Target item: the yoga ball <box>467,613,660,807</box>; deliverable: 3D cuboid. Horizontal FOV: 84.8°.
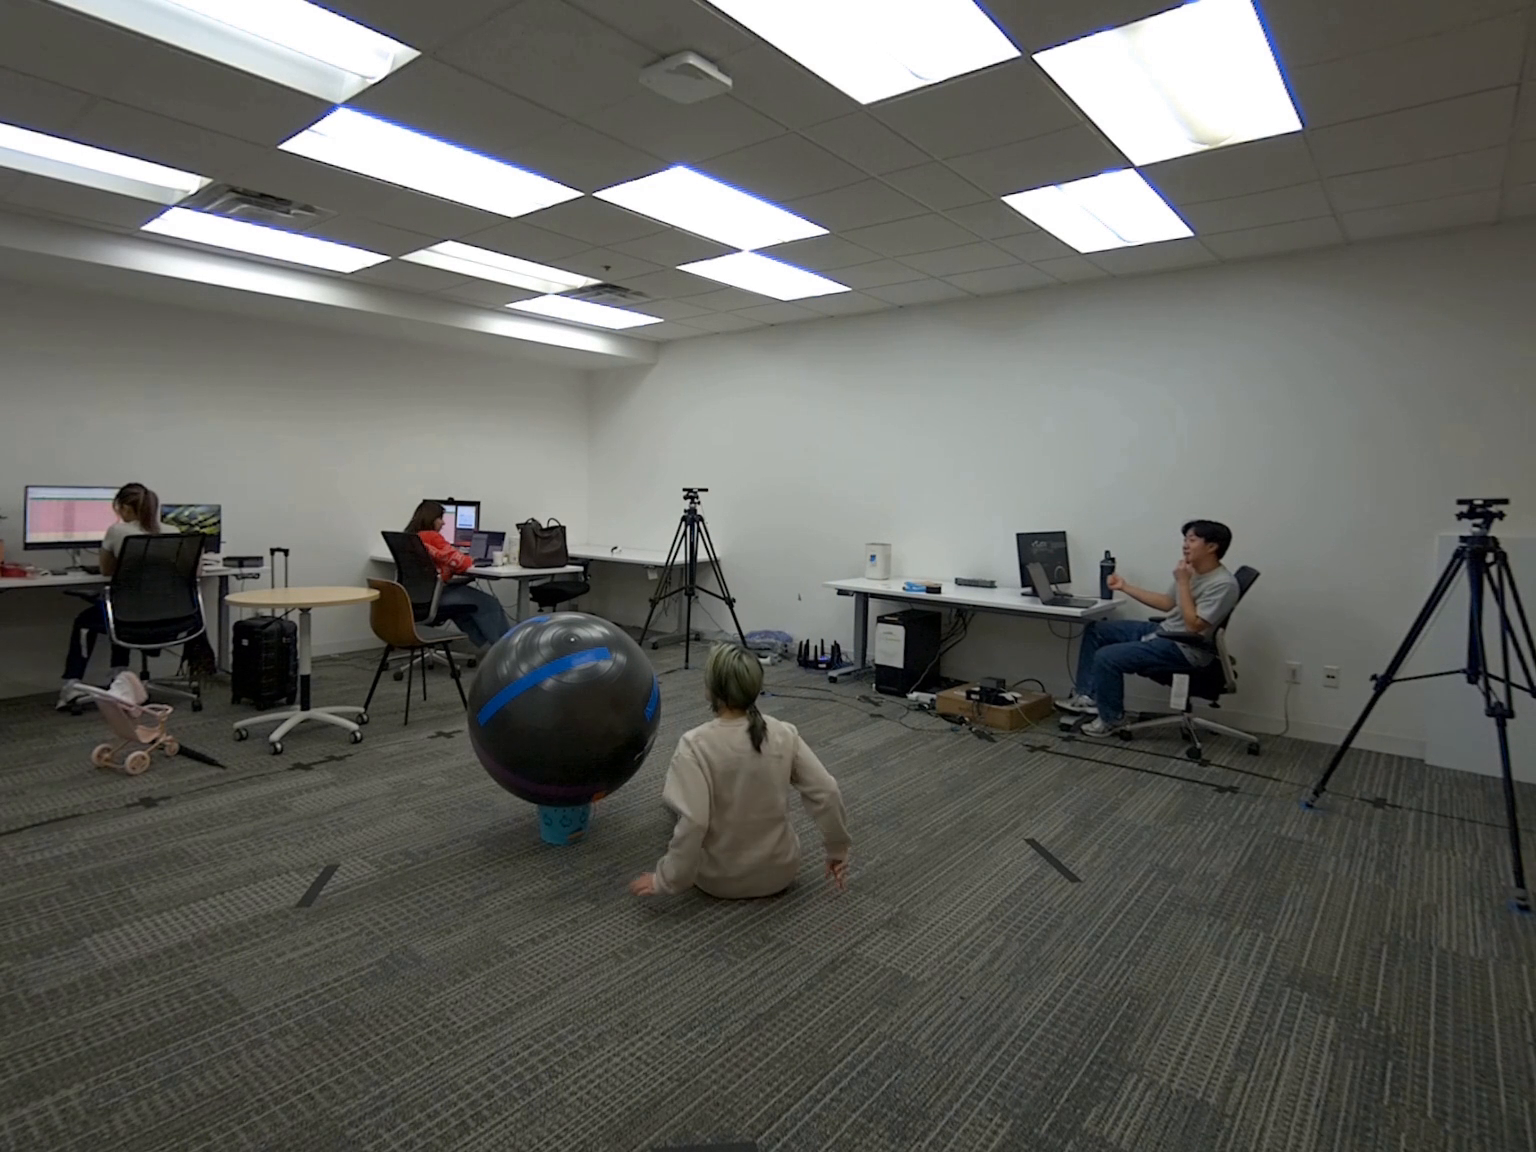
[{"bbox_3d":[-0.815,0.524,3.383,0.757,0.756,0.761,1,4,-2],"label":"yoga ball"}]
